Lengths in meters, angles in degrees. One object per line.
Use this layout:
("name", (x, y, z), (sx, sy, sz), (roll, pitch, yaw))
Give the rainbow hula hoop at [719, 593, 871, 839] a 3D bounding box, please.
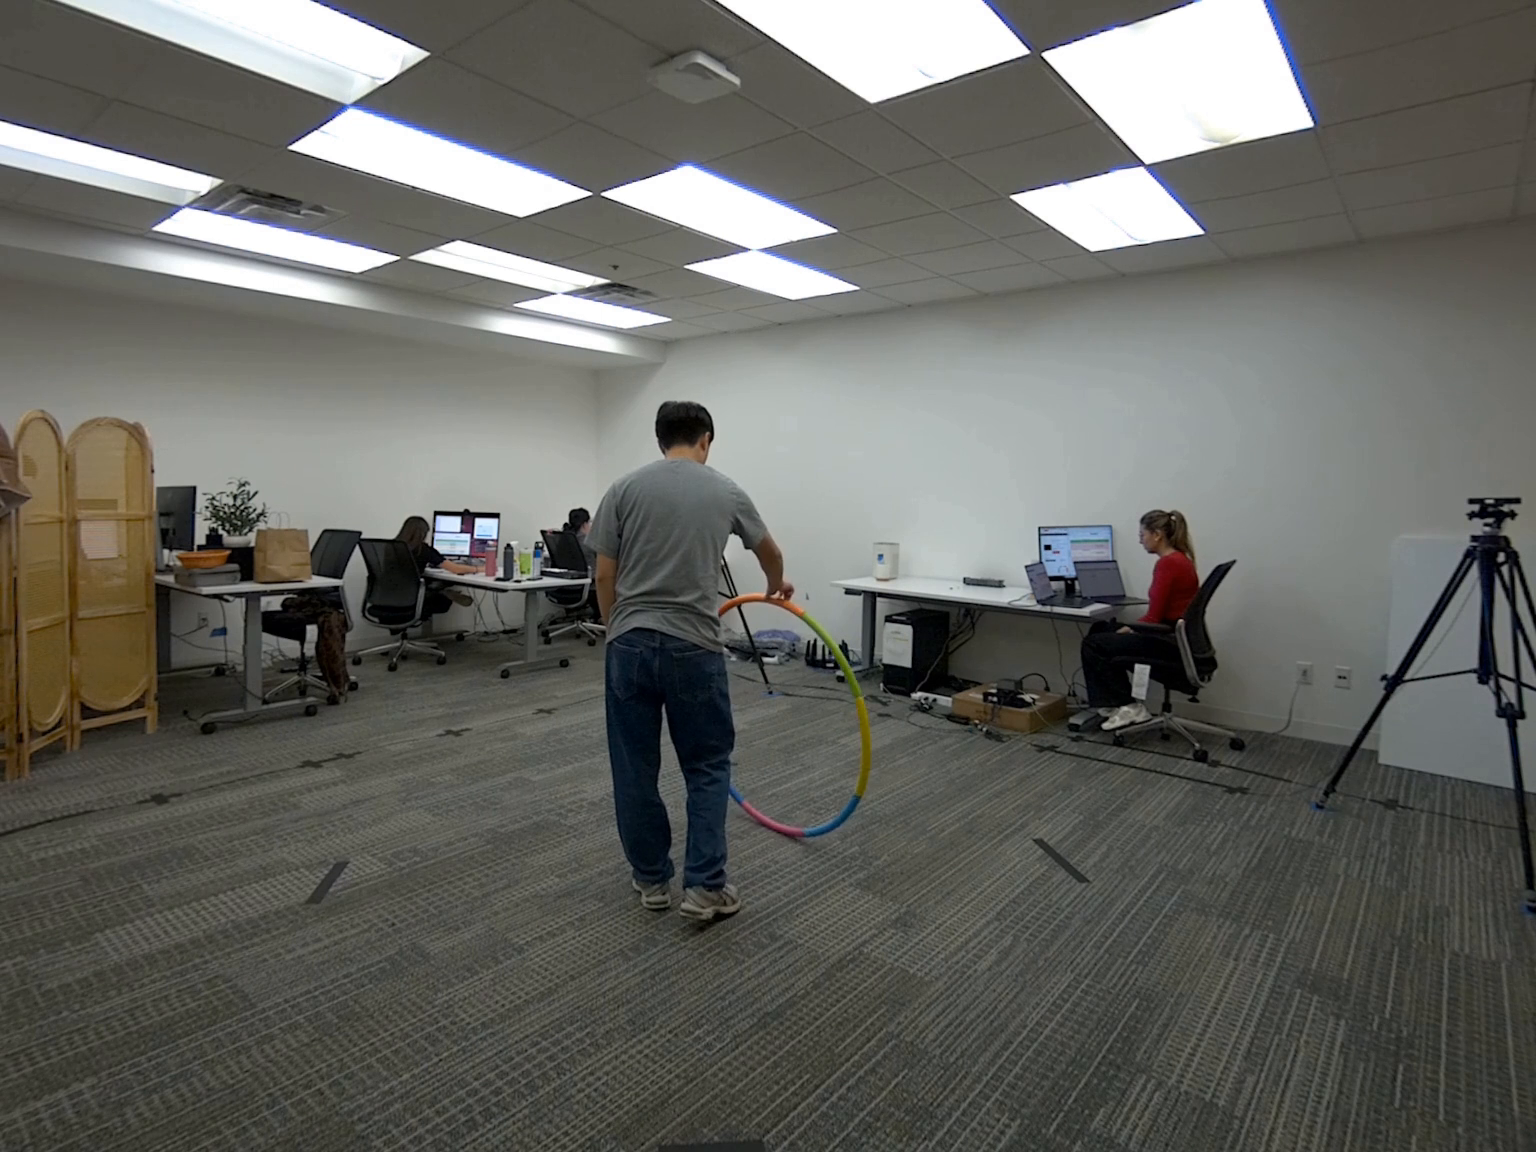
("rainbow hula hoop", (0.005, 0.555, 3.409), (0.034, 0.971, 1.012), (-9, 10, -42))
